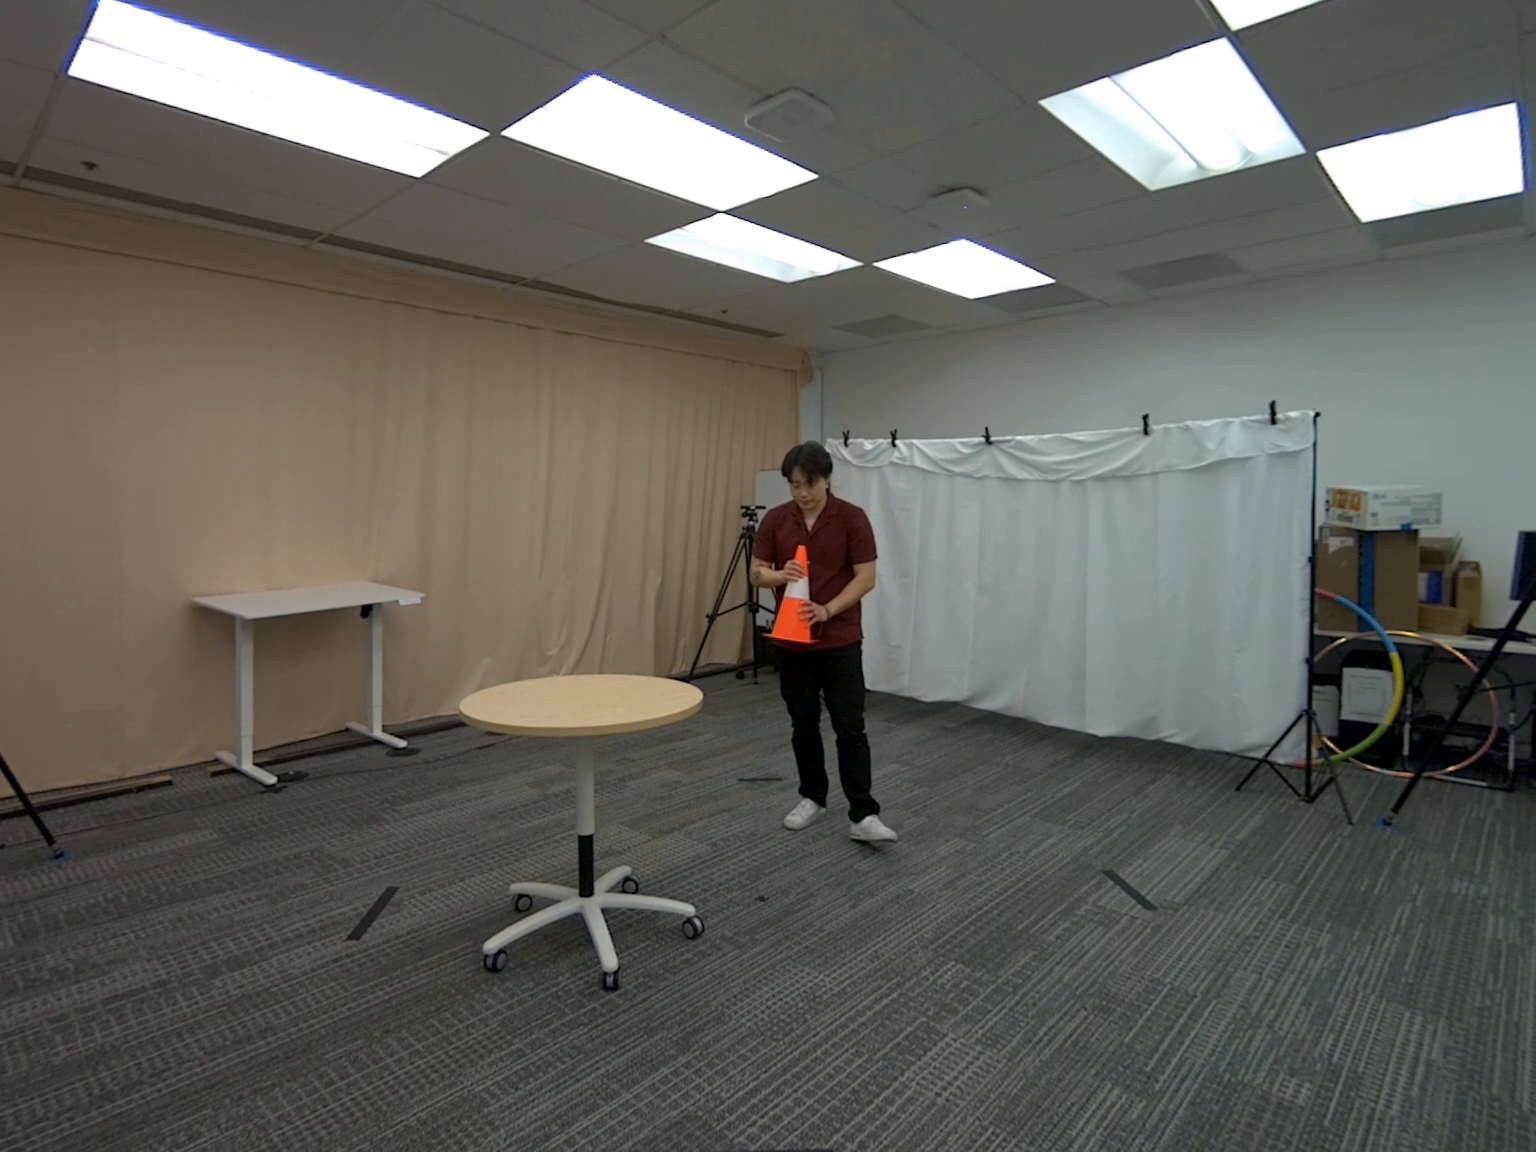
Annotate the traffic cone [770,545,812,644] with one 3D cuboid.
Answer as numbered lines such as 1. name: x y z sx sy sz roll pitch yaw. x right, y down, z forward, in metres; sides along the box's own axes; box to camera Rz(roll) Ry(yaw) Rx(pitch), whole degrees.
1. traffic cone: 0.121 0.063 3.456 0.209 0.384 0.199 7 0 18
